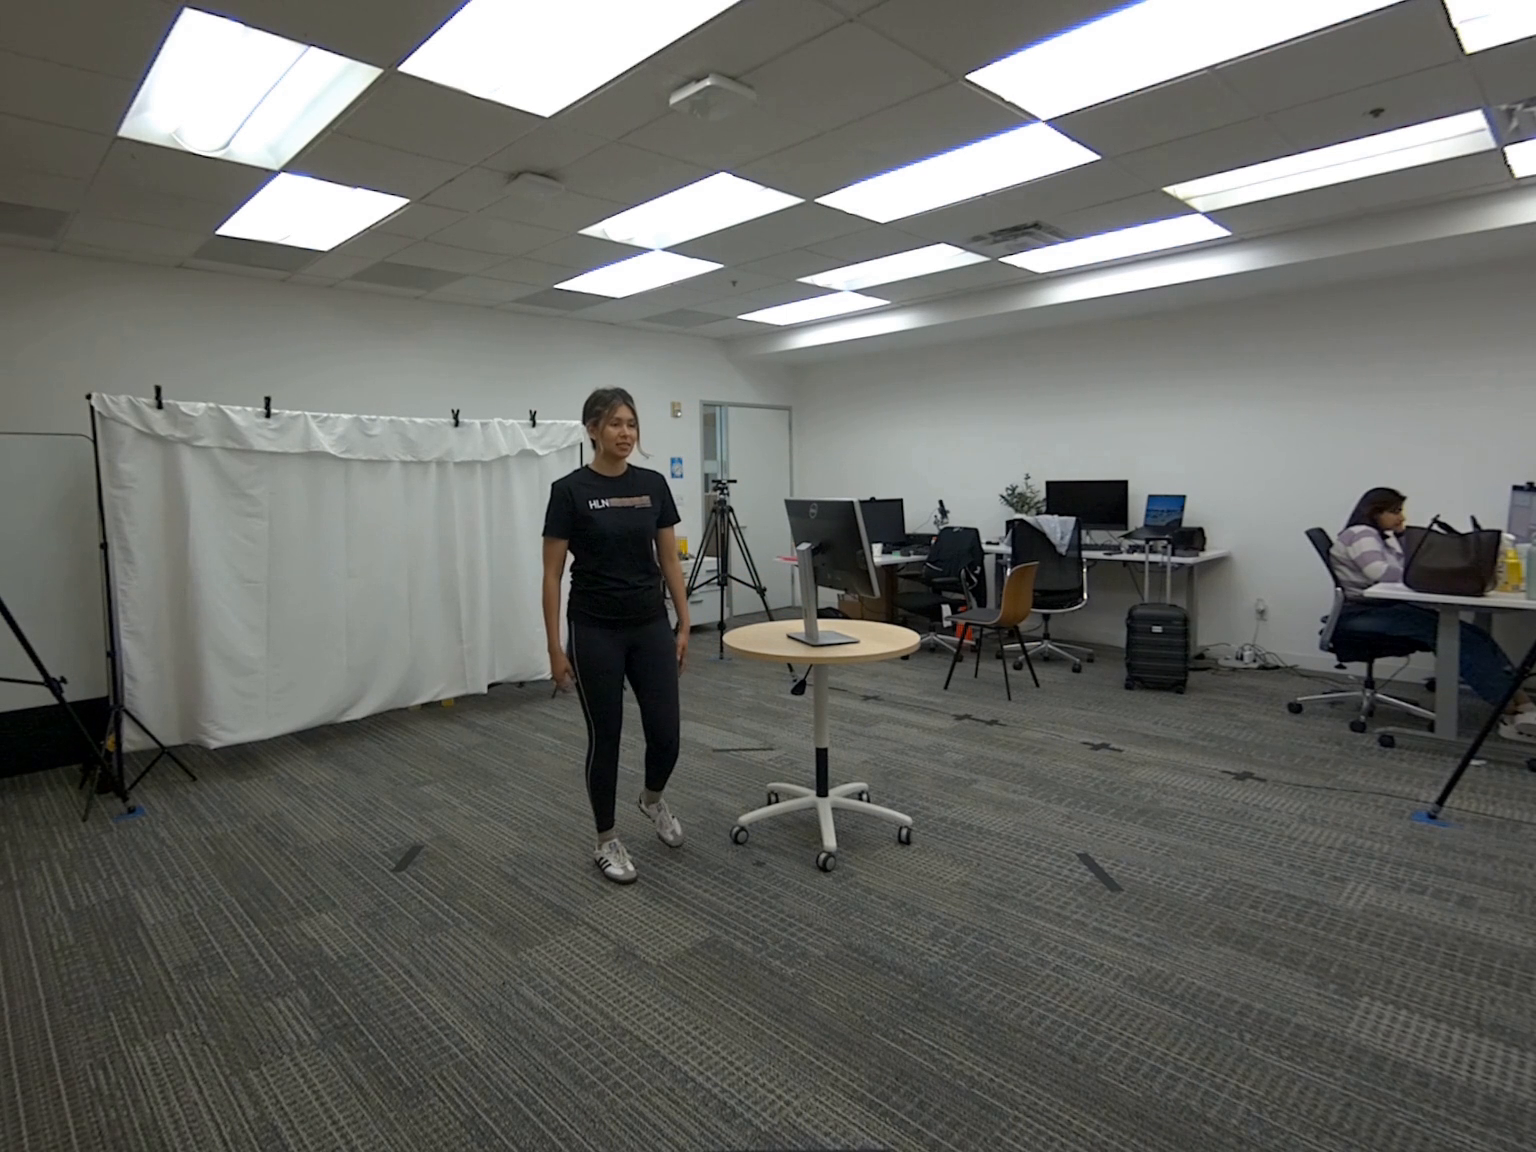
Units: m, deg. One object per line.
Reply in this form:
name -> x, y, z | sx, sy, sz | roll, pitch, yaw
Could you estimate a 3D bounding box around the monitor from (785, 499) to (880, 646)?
monitor -> 0.202, -0.019, 3.254 | 0.183, 0.521, 0.553 | -3, 5, -27
